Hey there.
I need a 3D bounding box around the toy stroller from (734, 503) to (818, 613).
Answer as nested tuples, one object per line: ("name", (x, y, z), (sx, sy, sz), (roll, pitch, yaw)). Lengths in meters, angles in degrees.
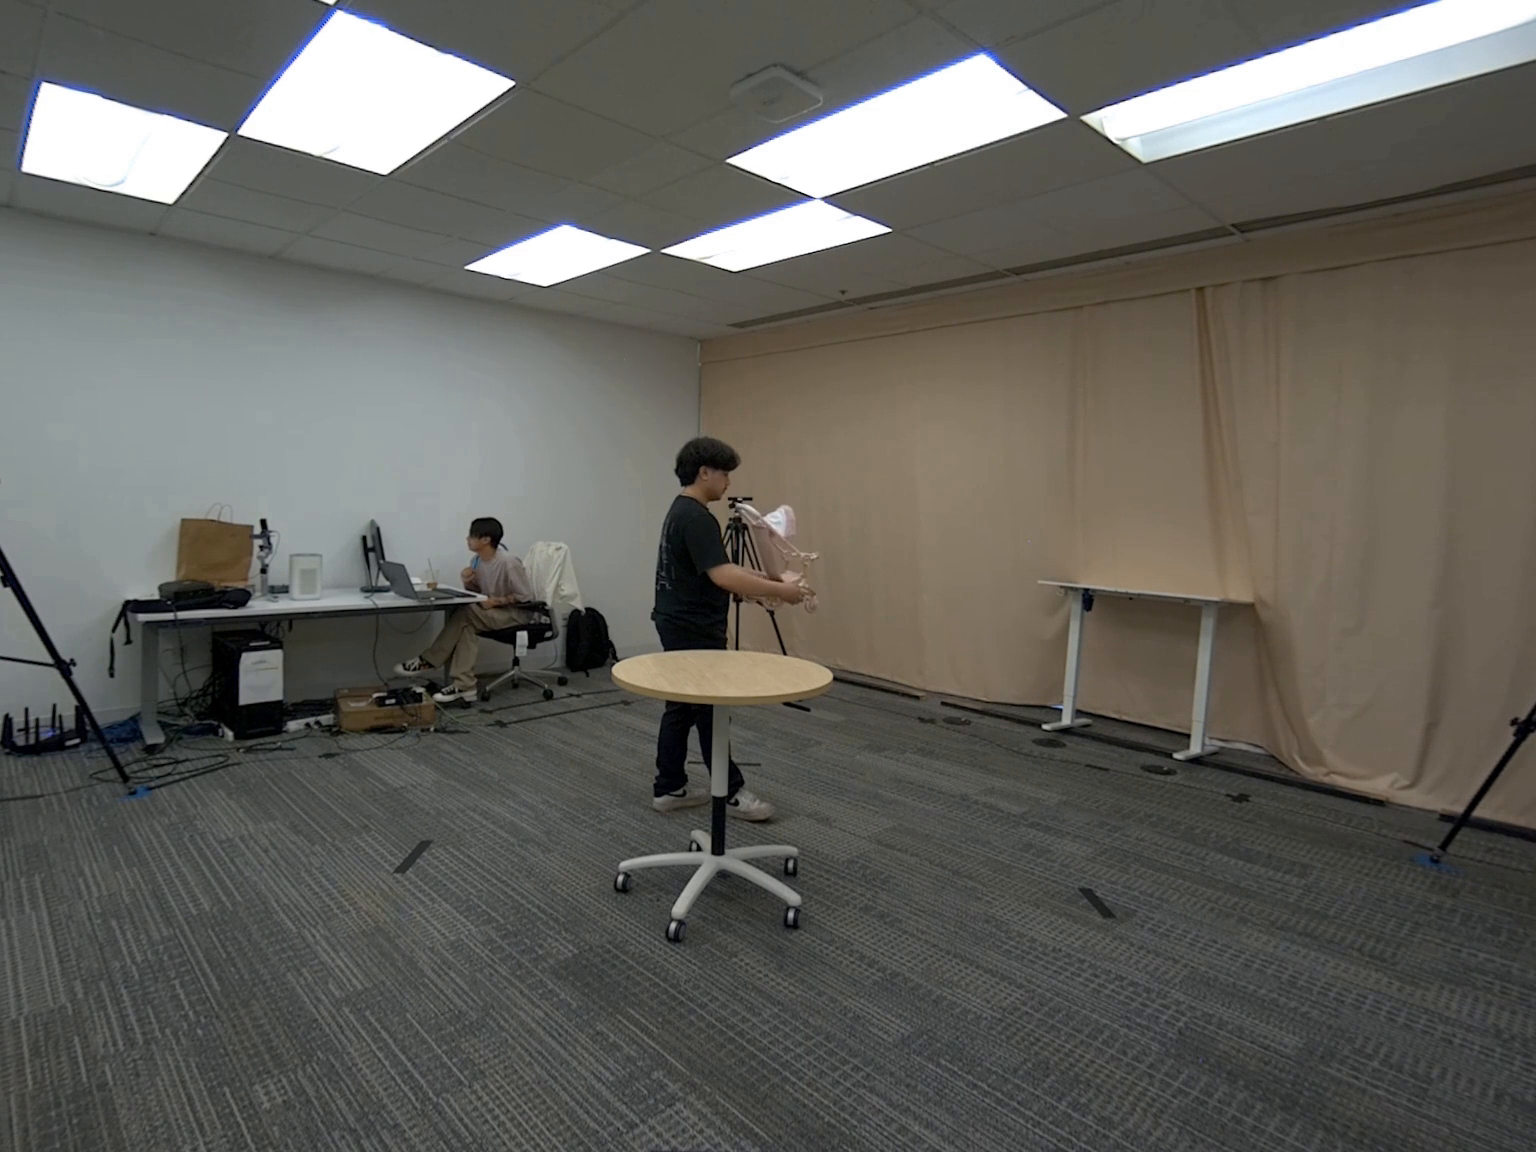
("toy stroller", (0.054, -0.080, 3.801), (0.337, 0.533, 0.286), (-7, 6, -17))
